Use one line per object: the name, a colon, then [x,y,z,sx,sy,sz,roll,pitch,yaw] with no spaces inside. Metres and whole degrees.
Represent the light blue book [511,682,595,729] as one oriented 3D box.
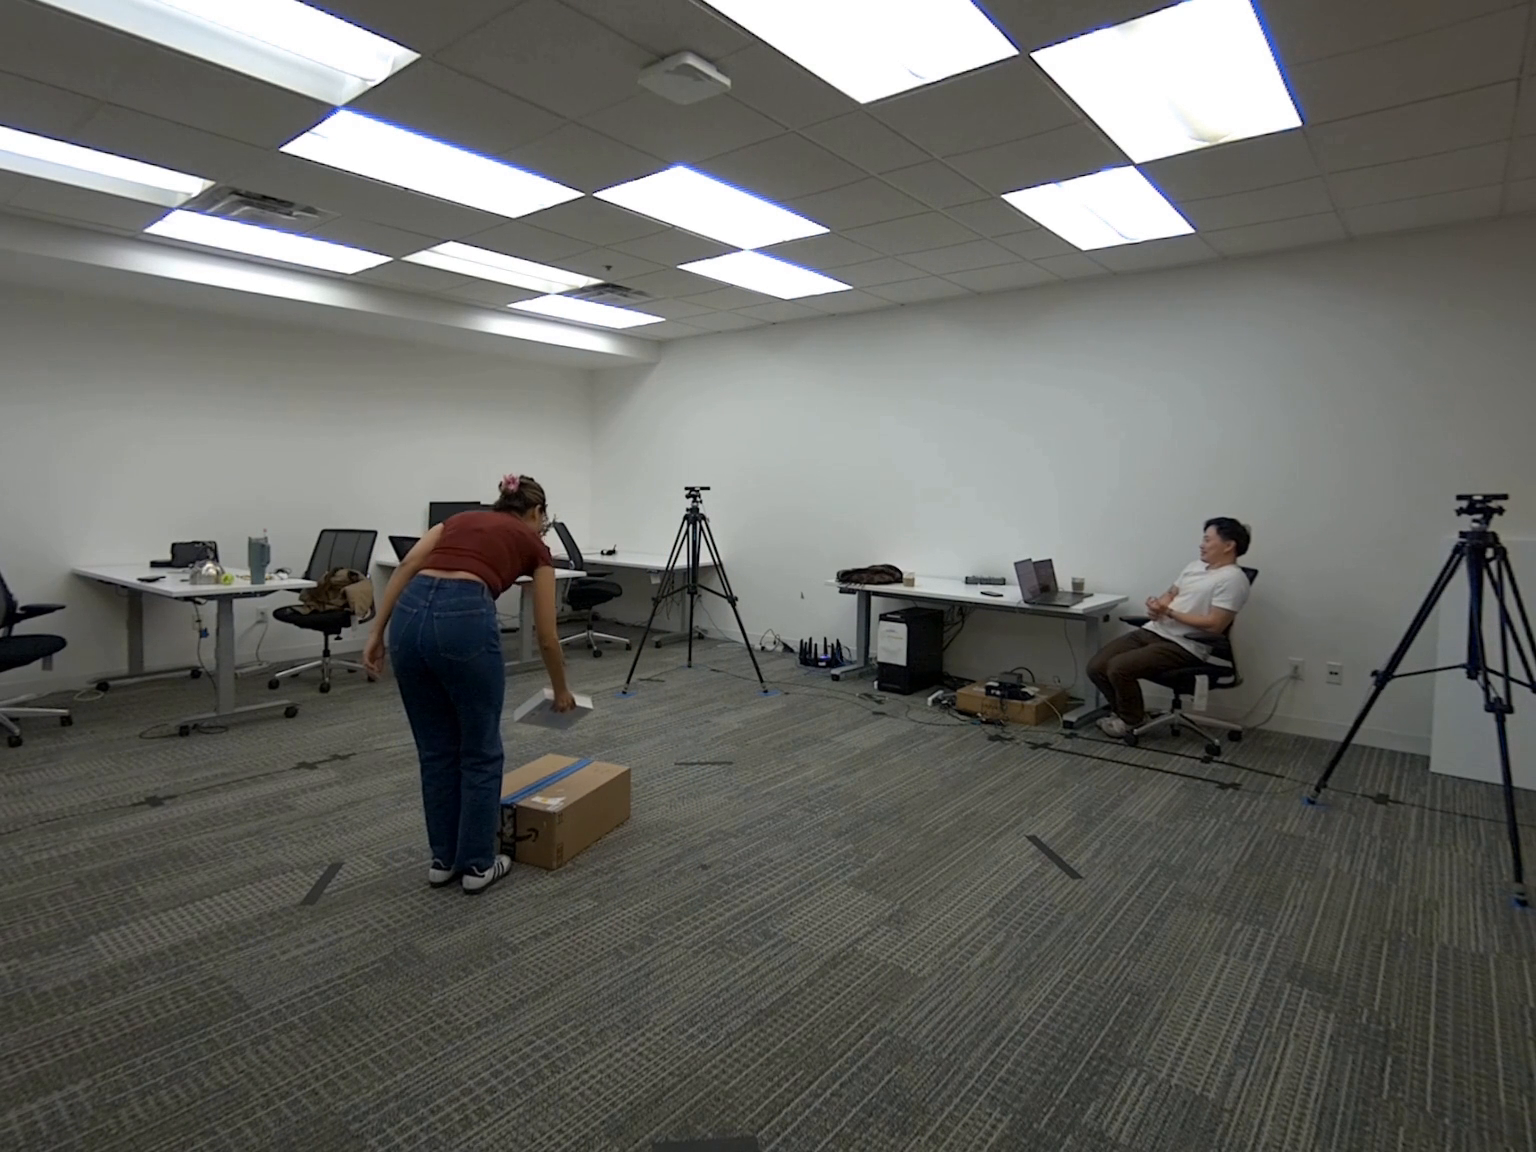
light blue book: [-0.861,0.521,3.371,0.192,0.061,0.250,-37,-34,22]
